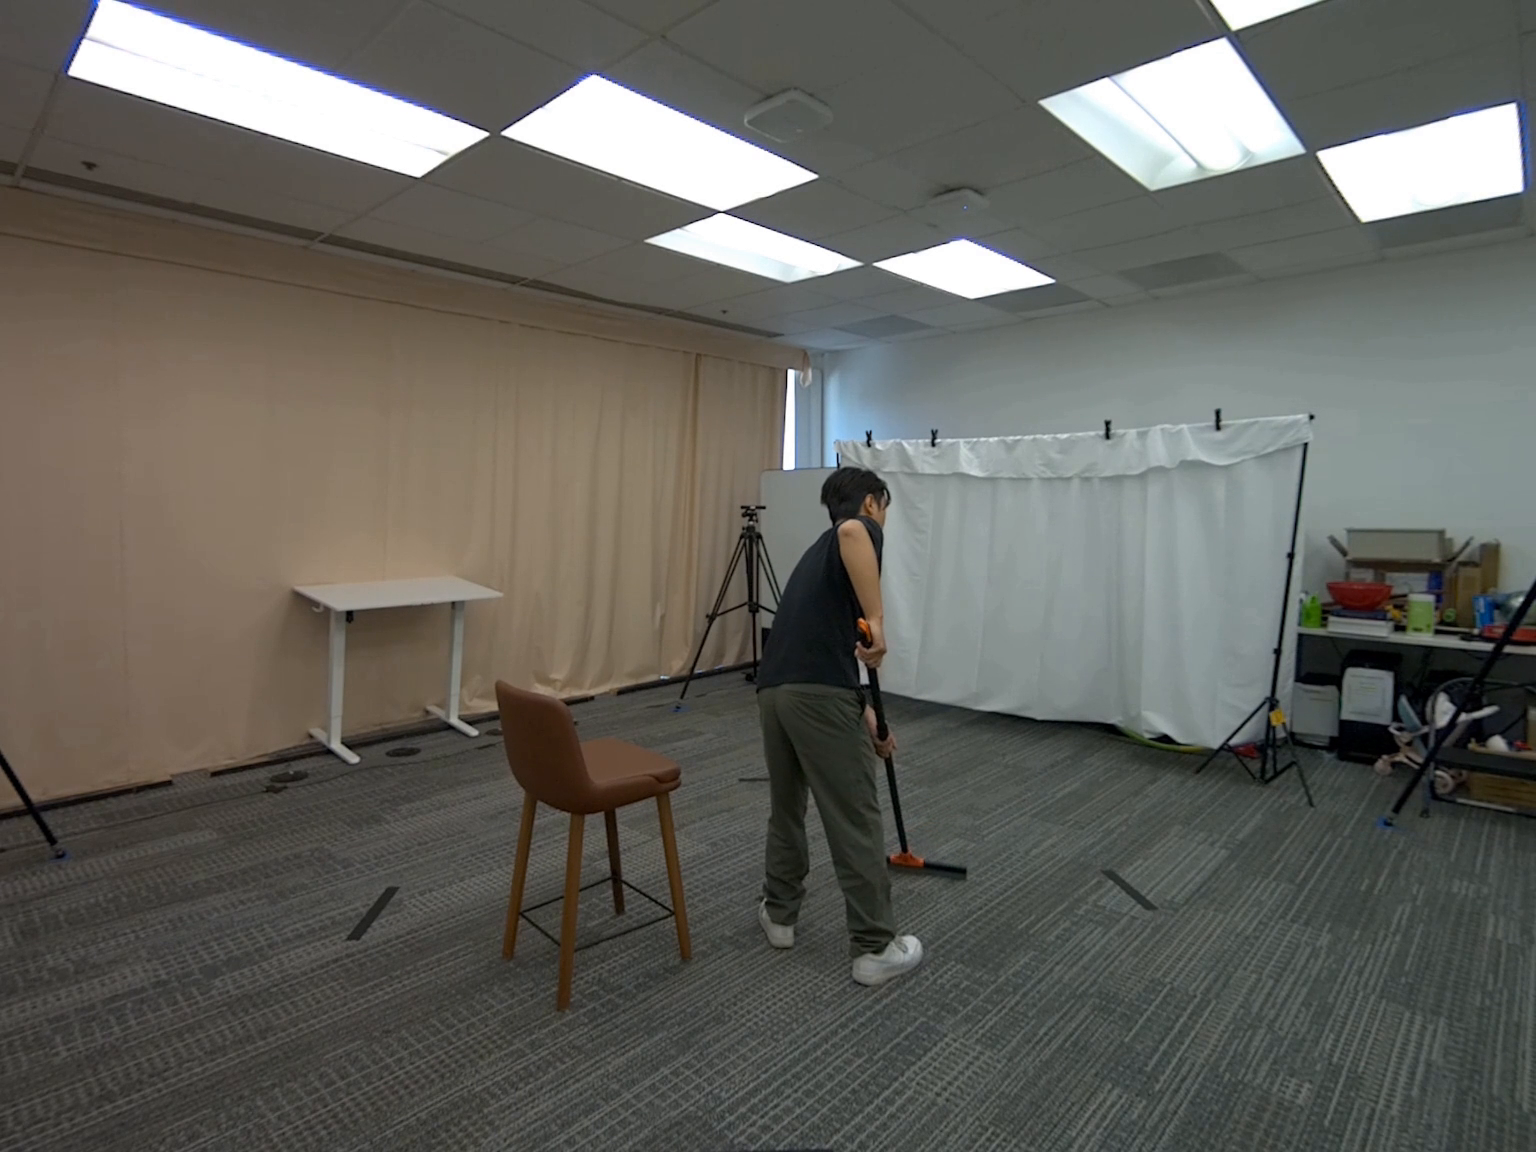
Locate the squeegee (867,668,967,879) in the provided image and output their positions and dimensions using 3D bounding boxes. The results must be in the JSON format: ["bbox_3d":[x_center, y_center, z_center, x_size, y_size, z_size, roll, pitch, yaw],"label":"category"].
[{"bbox_3d":[0.400,0.615,2.671,0.445,0.053,1.497,3,-39,15],"label":"squeegee"}]
